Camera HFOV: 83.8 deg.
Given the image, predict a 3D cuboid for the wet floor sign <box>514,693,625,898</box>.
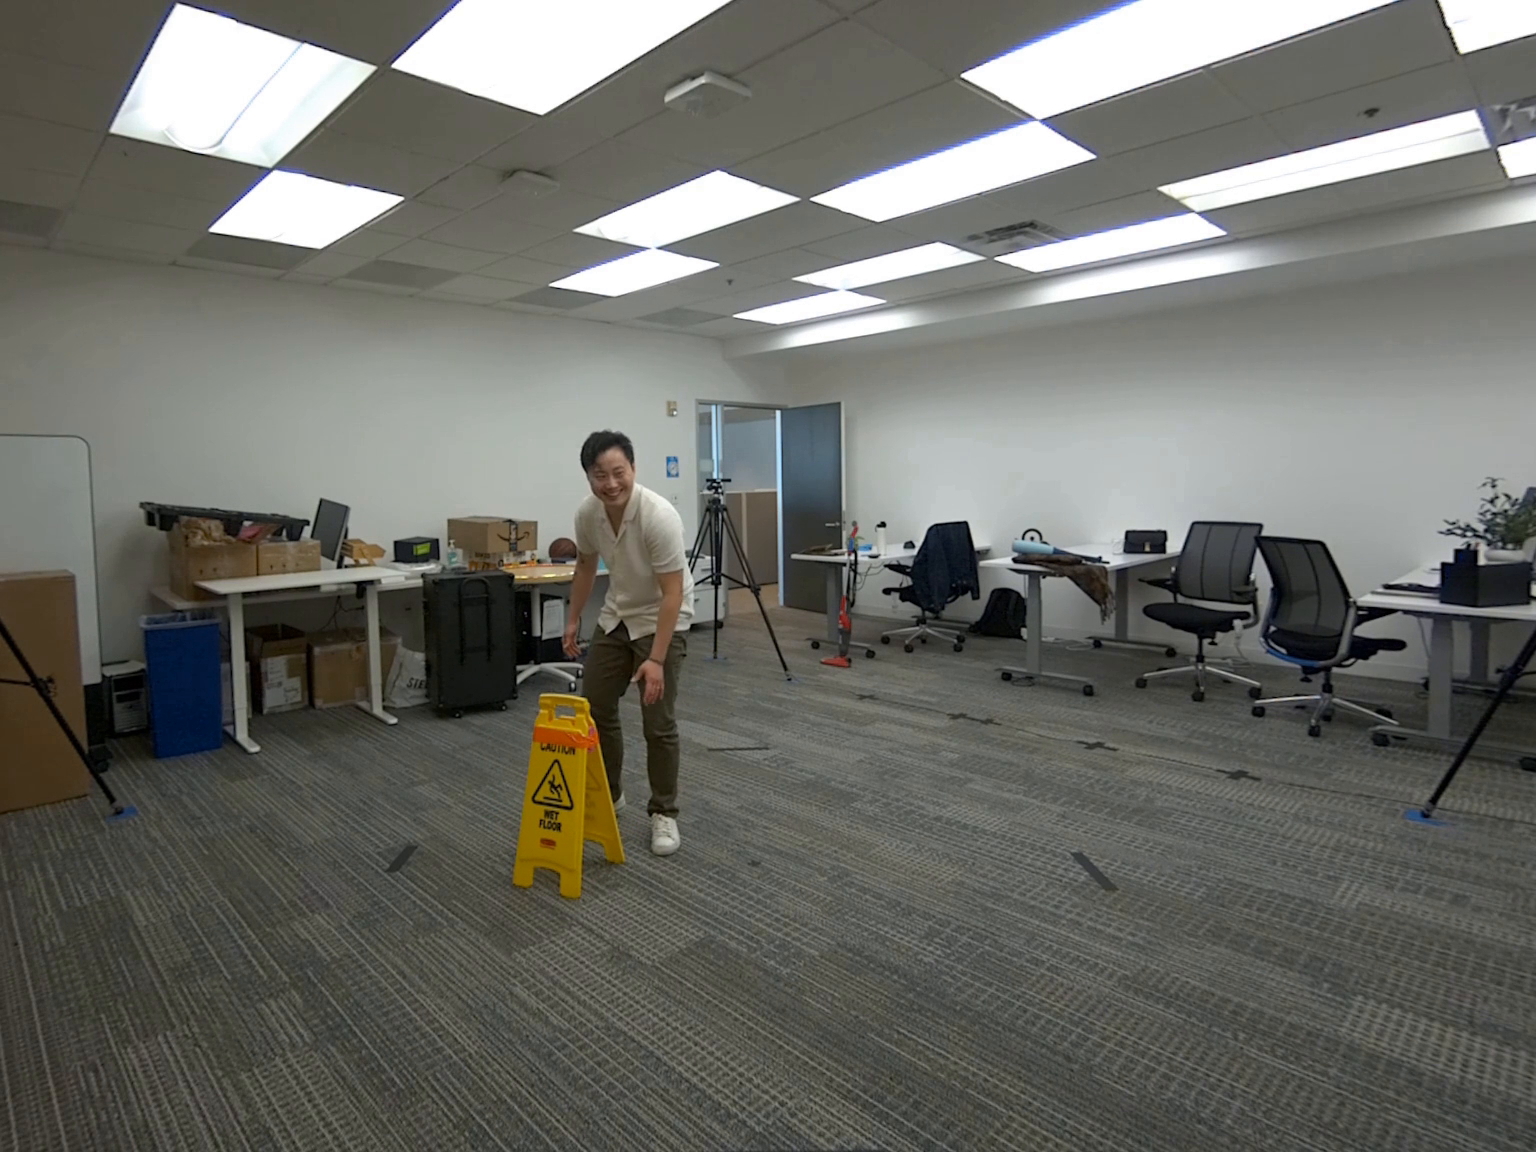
[{"bbox_3d":[-0.715,0.744,3.032,0.288,0.644,0.284,-1,4,24],"label":"wet floor sign"}]
